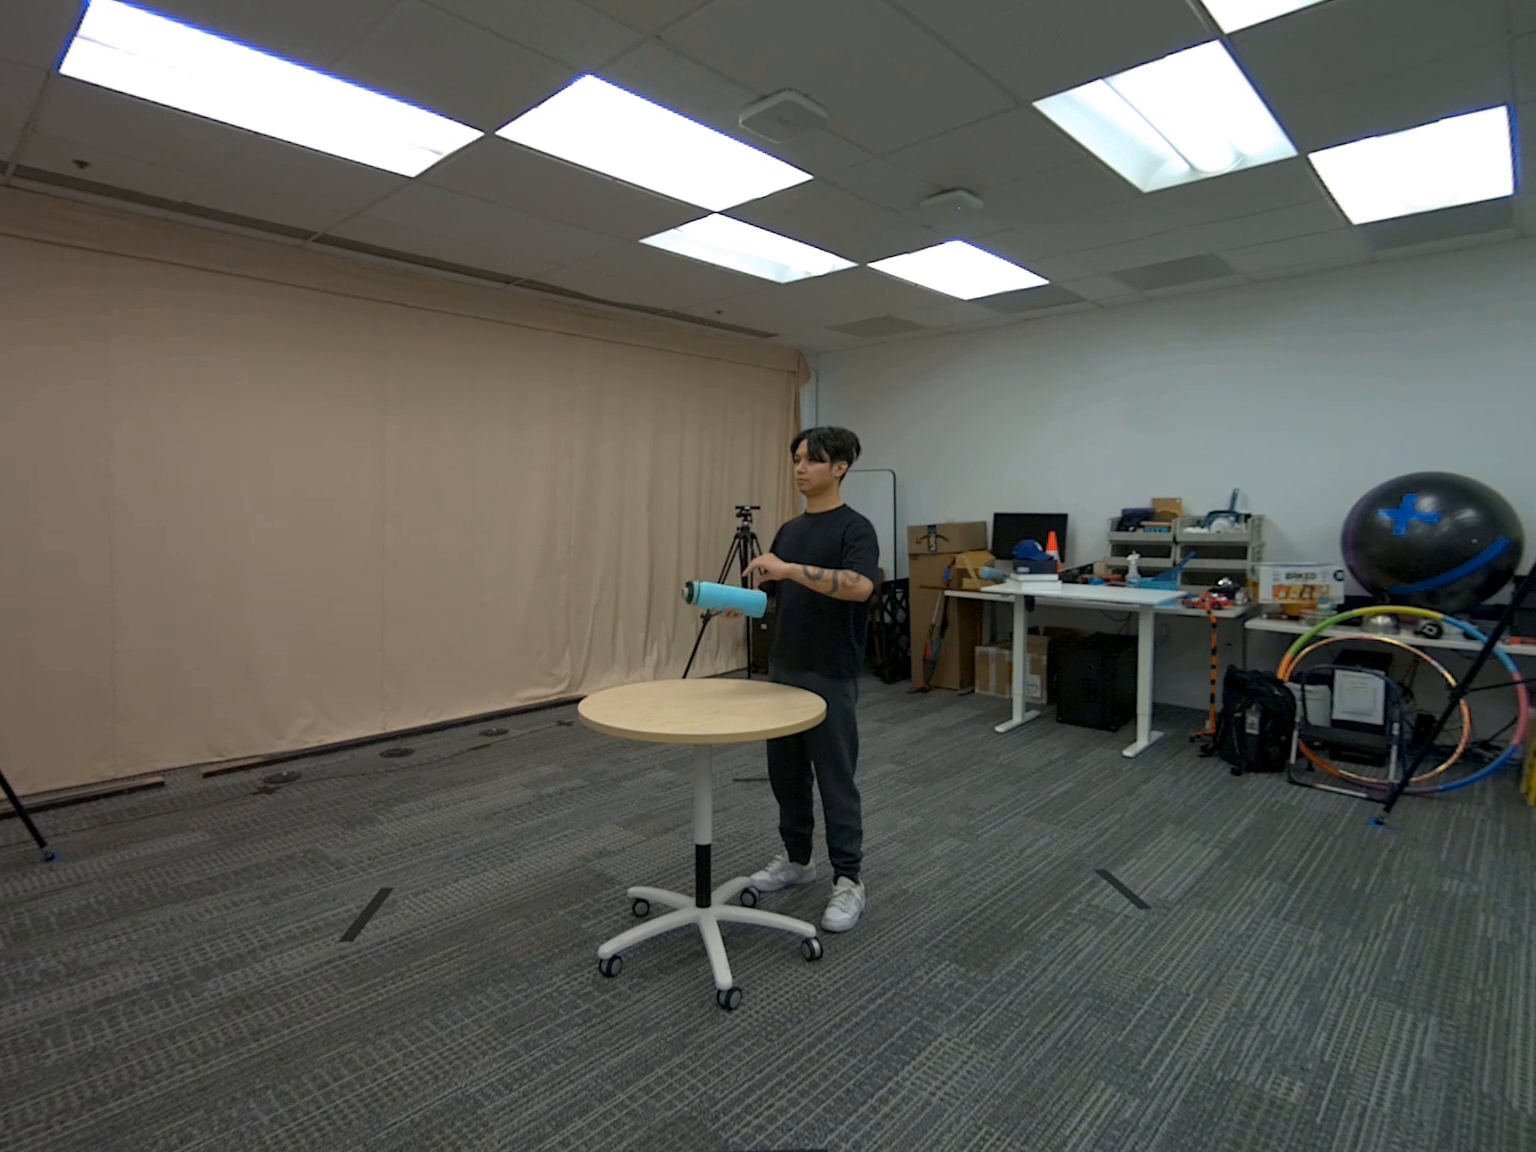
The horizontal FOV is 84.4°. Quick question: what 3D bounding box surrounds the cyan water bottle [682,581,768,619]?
[{"bbox_3d":[-0.151,0.069,2.839,0.279,0.092,0.094,11,1,-13],"label":"cyan water bottle"}]
